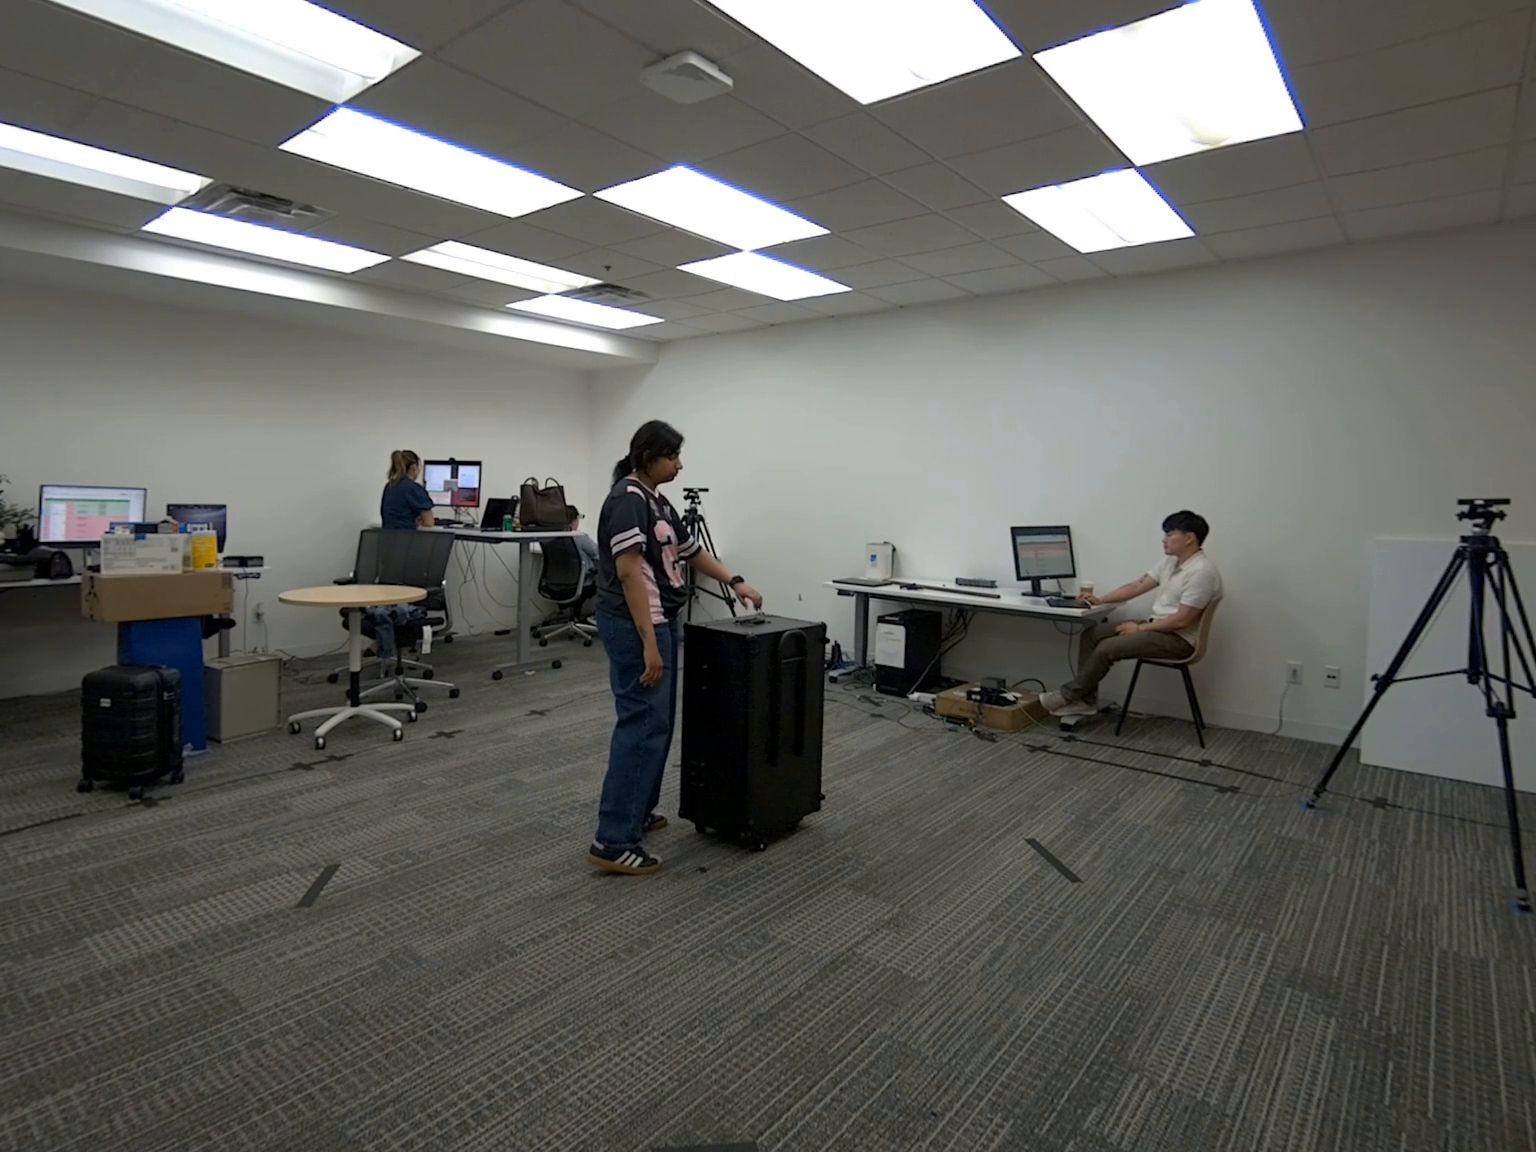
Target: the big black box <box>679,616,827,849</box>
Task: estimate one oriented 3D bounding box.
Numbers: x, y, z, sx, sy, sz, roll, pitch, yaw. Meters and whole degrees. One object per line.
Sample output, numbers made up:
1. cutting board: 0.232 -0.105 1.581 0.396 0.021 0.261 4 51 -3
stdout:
1. big black box: -0.059 0.618 3.462 0.398 0.865 0.508 5 5 40
